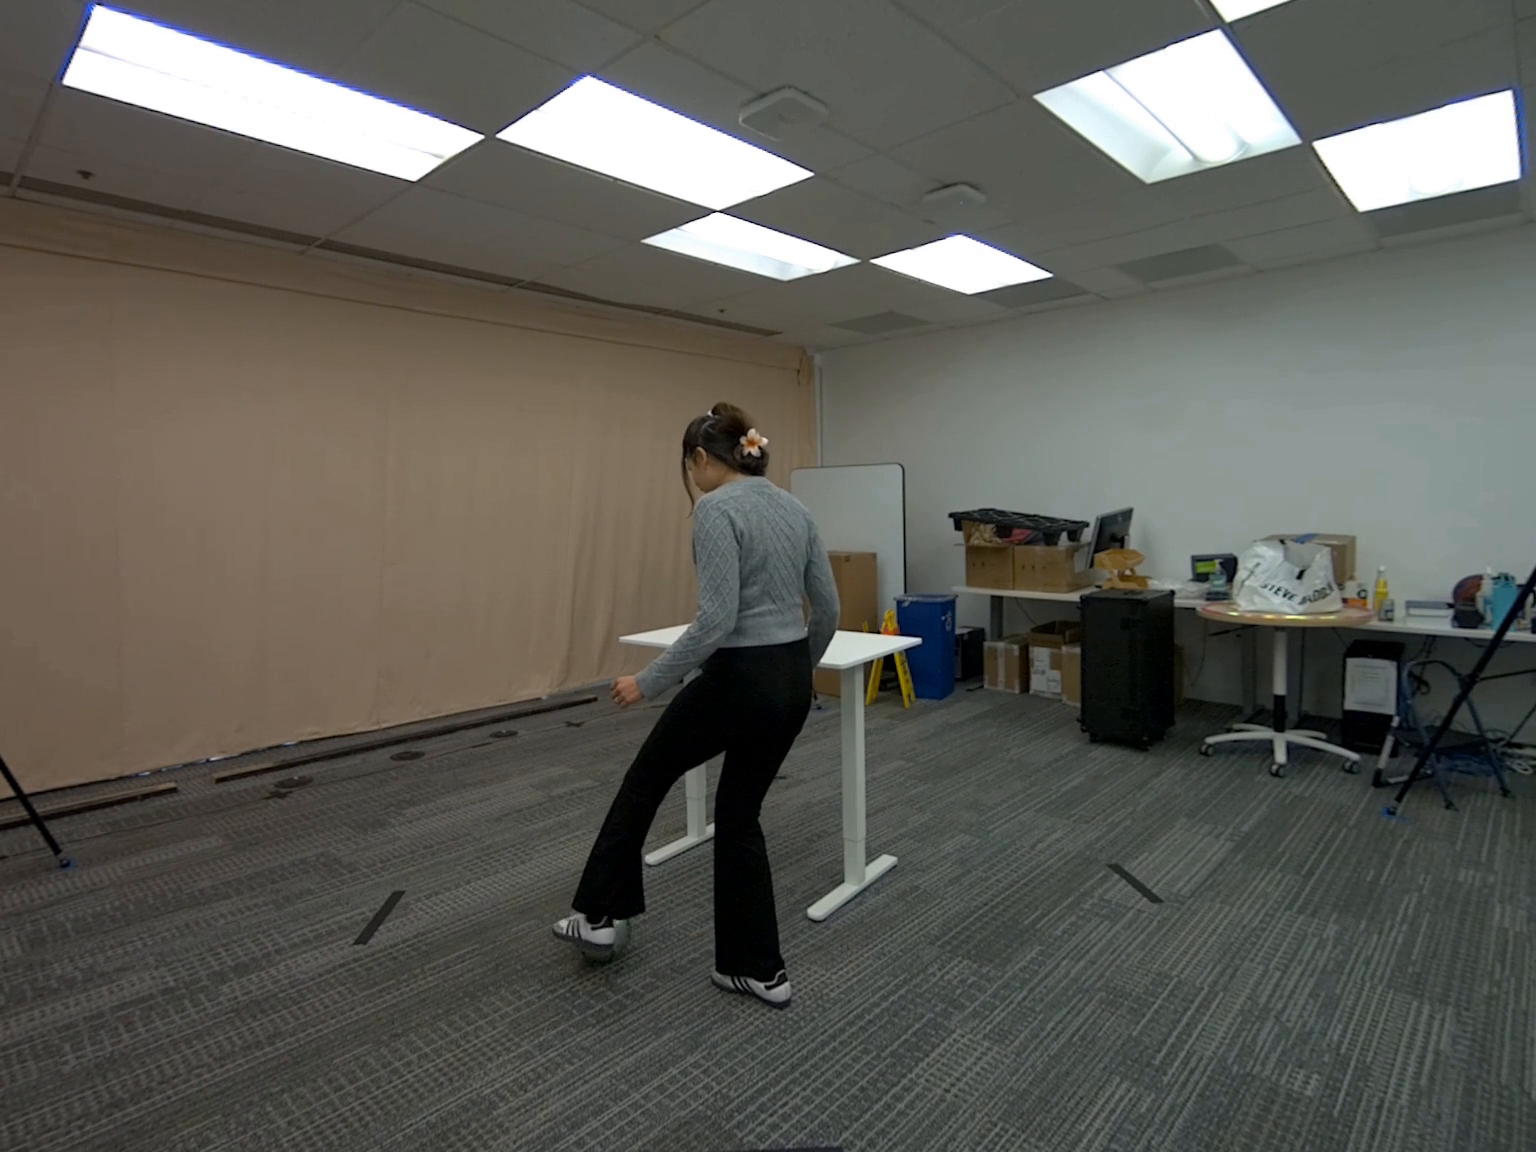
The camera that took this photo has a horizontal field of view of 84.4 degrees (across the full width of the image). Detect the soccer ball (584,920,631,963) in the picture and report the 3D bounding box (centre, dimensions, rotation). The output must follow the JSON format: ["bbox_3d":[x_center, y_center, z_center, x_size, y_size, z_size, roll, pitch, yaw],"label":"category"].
[{"bbox_3d":[-0.482,1.082,2.637,0.187,0.187,0.188,-1,4,-2],"label":"soccer ball"}]
